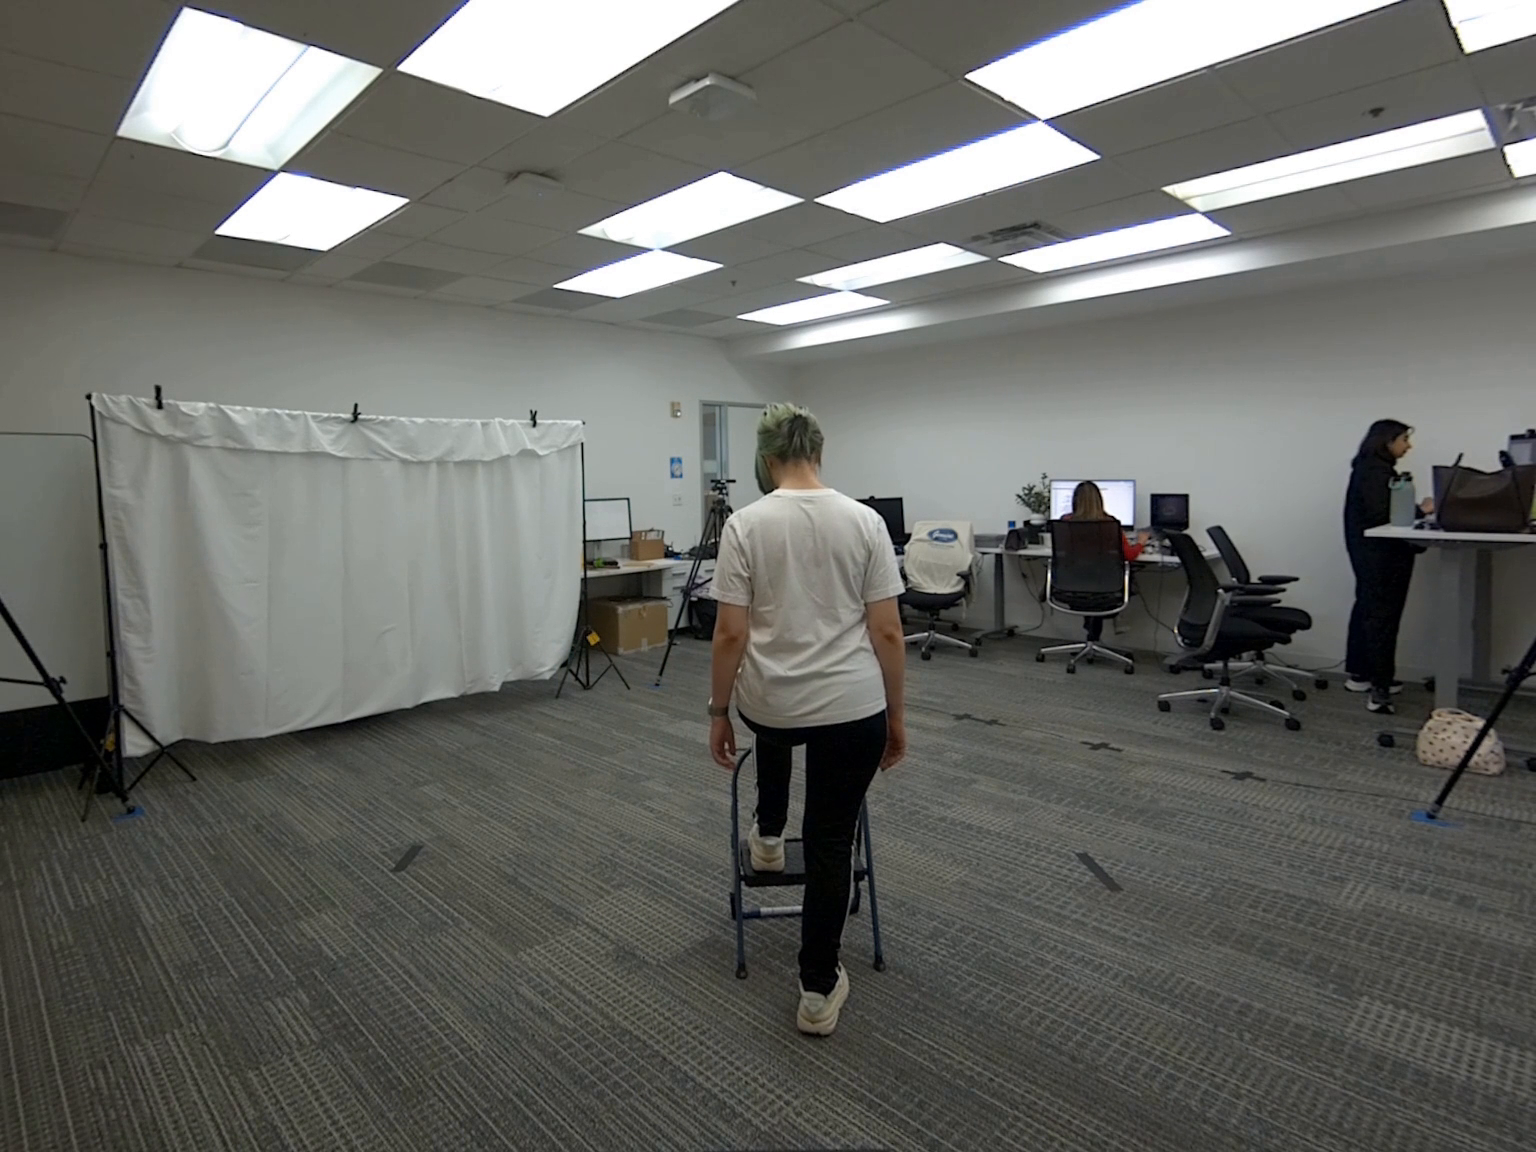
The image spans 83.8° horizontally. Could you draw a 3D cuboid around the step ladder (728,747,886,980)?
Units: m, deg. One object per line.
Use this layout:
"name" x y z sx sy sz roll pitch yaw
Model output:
"step ladder" 0.106 0.811 2.565 0.429 0.604 0.352 -1 4 -5
